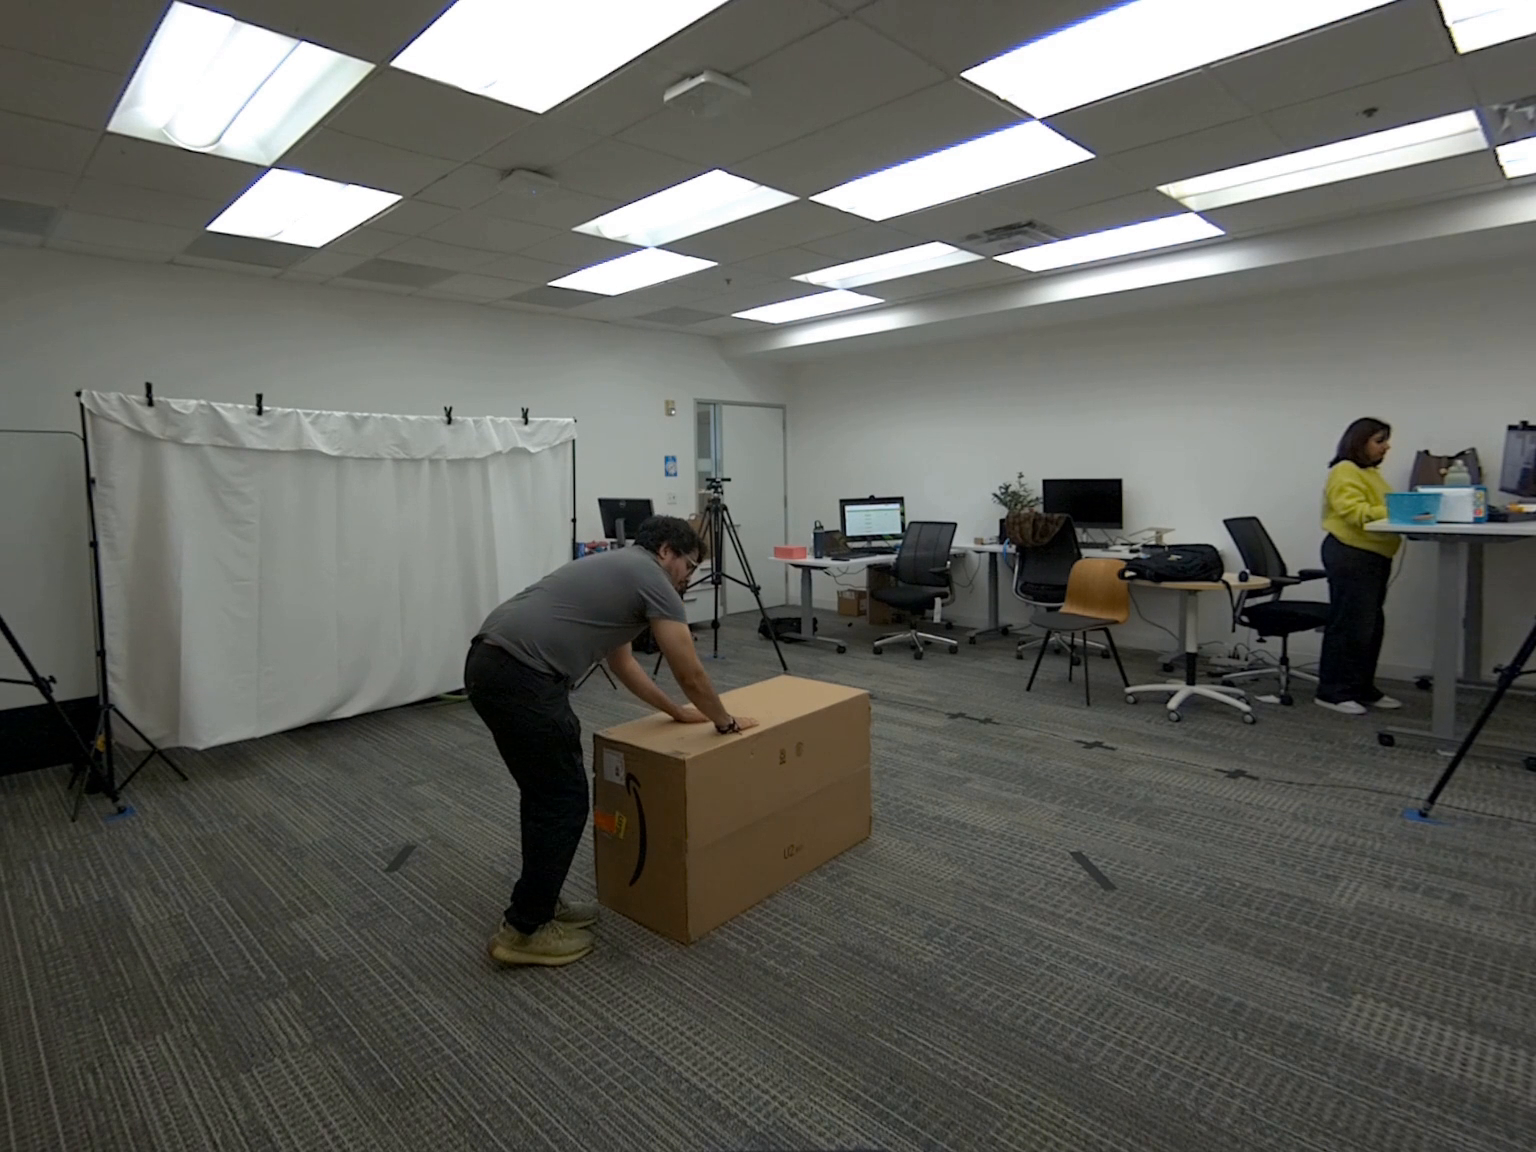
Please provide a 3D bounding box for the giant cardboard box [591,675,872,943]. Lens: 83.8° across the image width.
[{"bbox_3d":[-0.090,0.760,3.063,0.439,0.575,1.000,2,6,40],"label":"giant cardboard box"}]
